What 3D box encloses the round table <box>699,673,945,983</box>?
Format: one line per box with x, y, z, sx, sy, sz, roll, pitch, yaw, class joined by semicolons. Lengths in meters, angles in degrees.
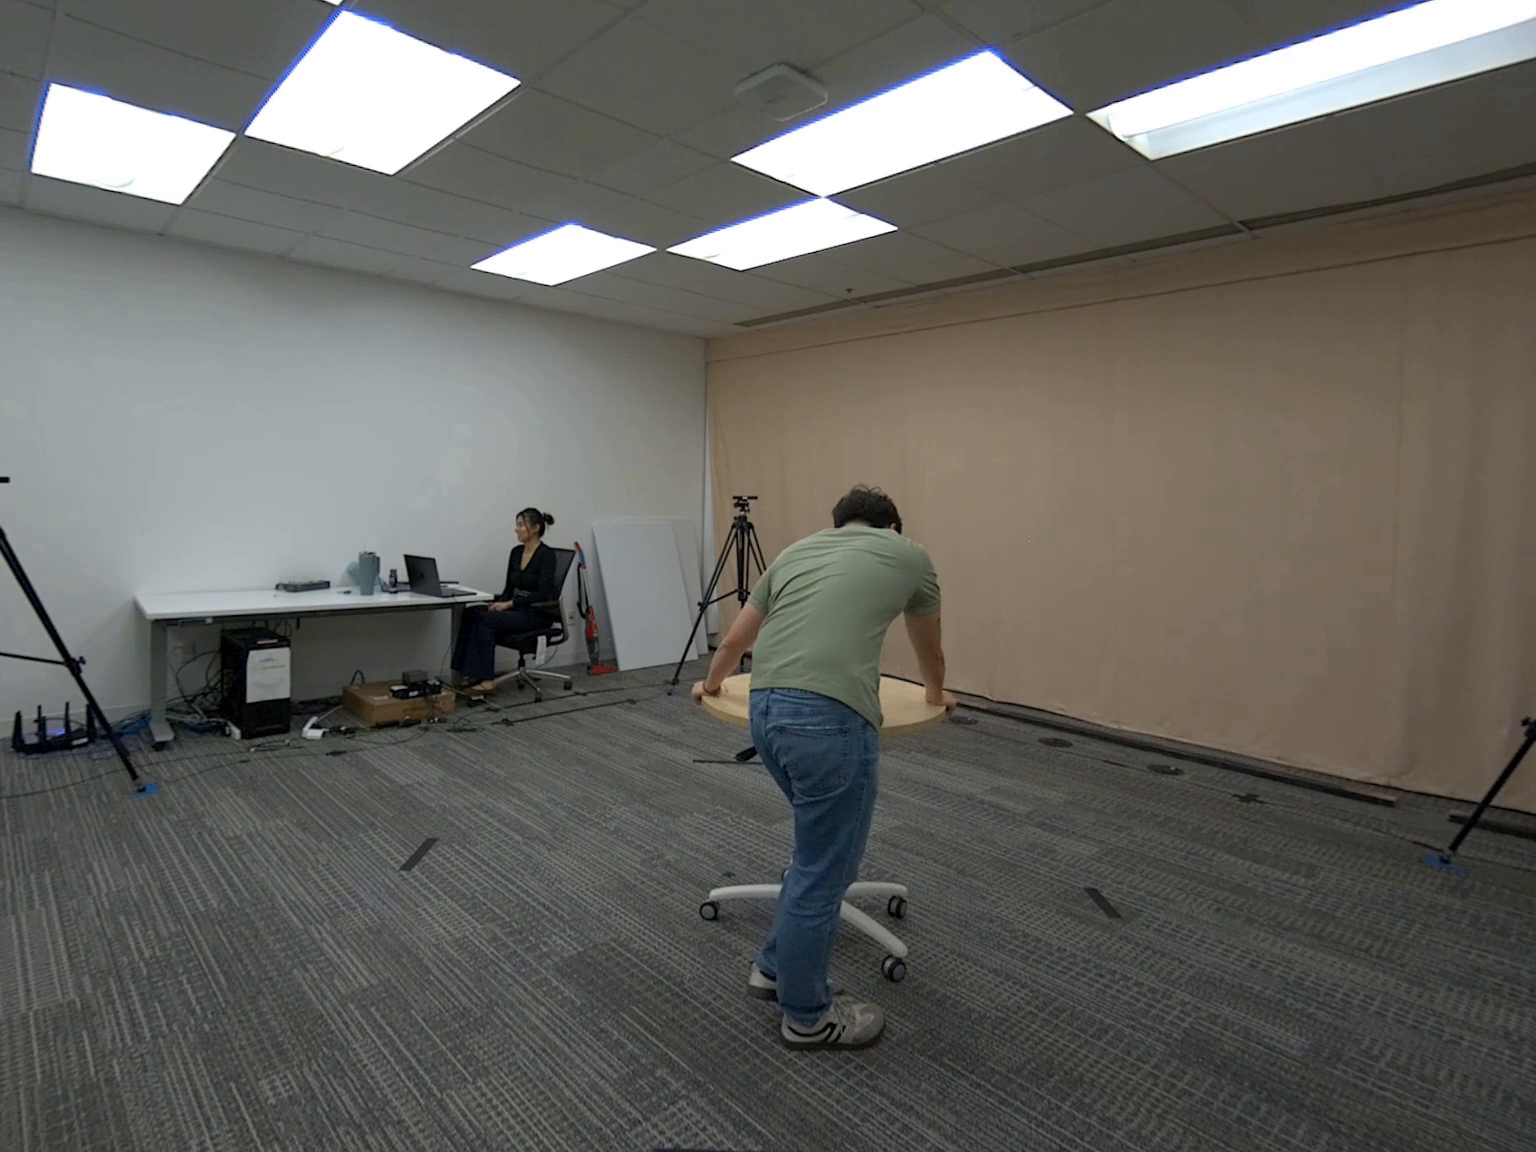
0.159;0.768;2.687;0.763;0.791;0.767;1;5;-1;round table
